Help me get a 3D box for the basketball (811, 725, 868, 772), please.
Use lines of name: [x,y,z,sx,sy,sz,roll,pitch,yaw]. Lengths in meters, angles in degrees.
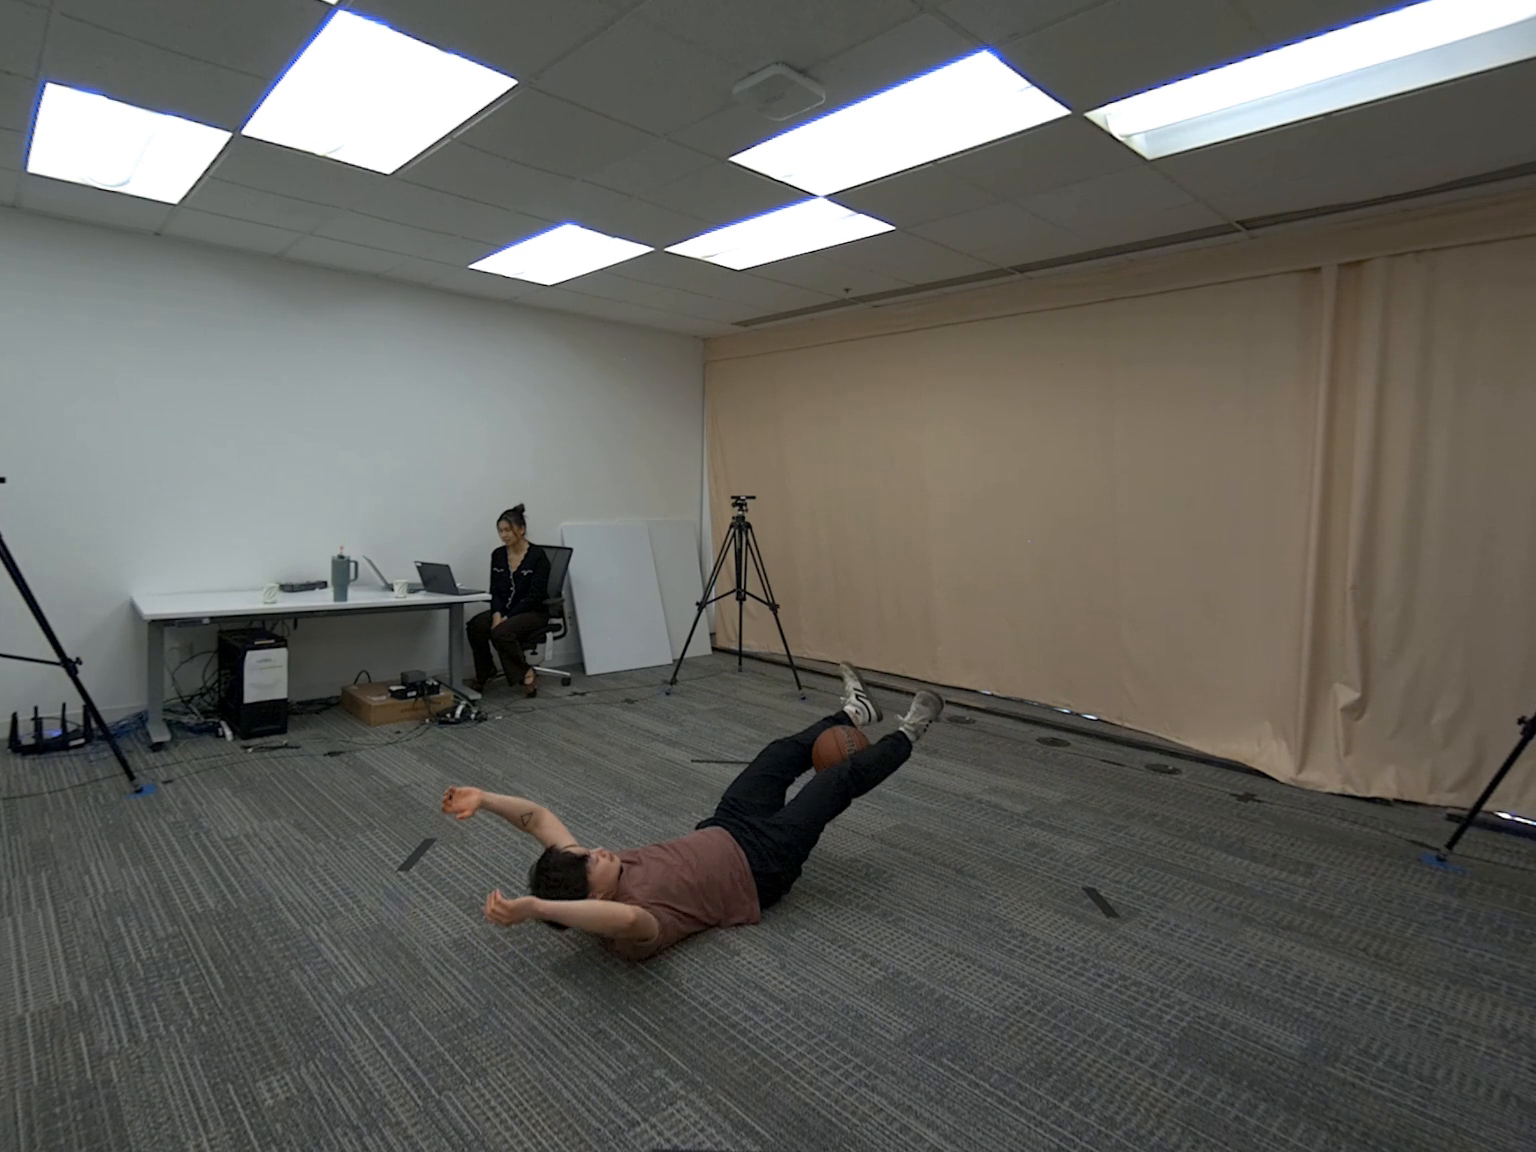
basketball: [0.284,0.695,3.210,0.236,0.235,0.237,2,4,-2]
